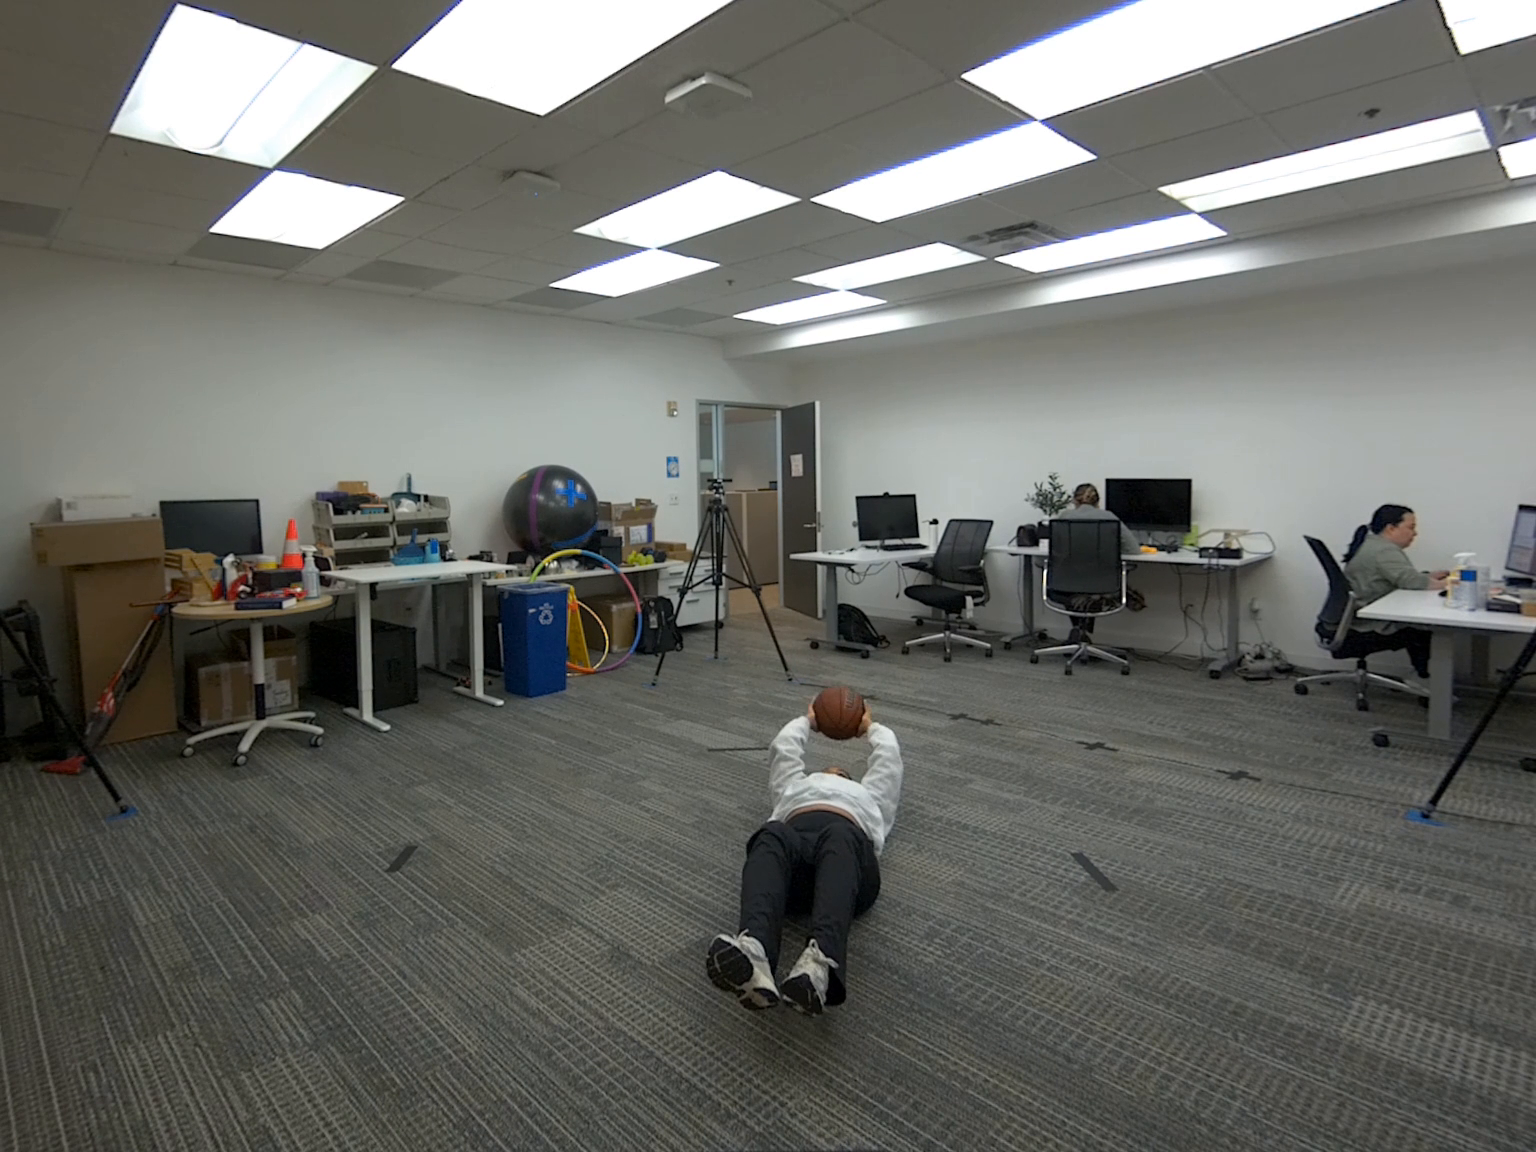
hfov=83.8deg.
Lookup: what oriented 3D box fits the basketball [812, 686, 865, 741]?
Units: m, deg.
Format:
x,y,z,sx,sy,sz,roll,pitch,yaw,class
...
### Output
x,y,z,sx,sy,sz,roll,pitch,yaw,class
0.312,0.591,3.720,0.236,0.235,0.237,-1,4,-2,basketball
